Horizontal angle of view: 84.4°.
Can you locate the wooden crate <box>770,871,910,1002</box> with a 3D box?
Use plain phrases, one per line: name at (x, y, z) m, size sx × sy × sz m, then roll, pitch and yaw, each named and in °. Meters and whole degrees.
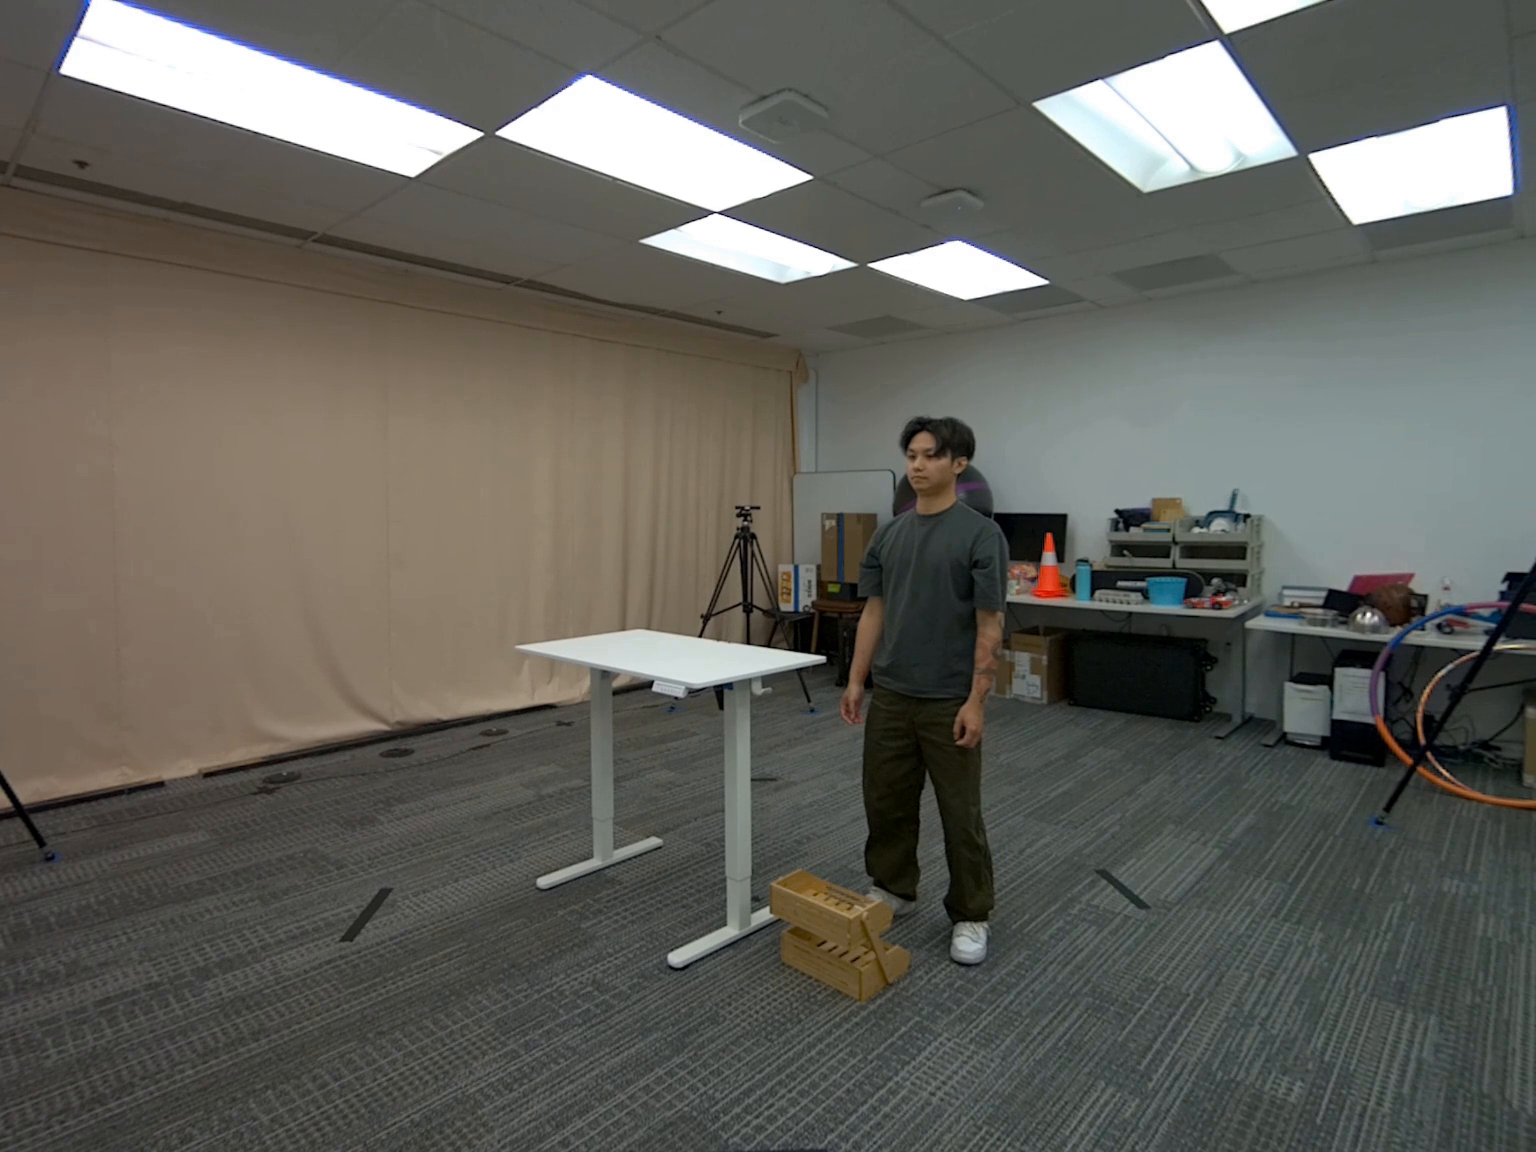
wooden crate at (0.225, 1.046, 2.529) m, size 0.335 × 0.272 × 0.293 m, roll 4°, pitch 6°, yaw 44°
